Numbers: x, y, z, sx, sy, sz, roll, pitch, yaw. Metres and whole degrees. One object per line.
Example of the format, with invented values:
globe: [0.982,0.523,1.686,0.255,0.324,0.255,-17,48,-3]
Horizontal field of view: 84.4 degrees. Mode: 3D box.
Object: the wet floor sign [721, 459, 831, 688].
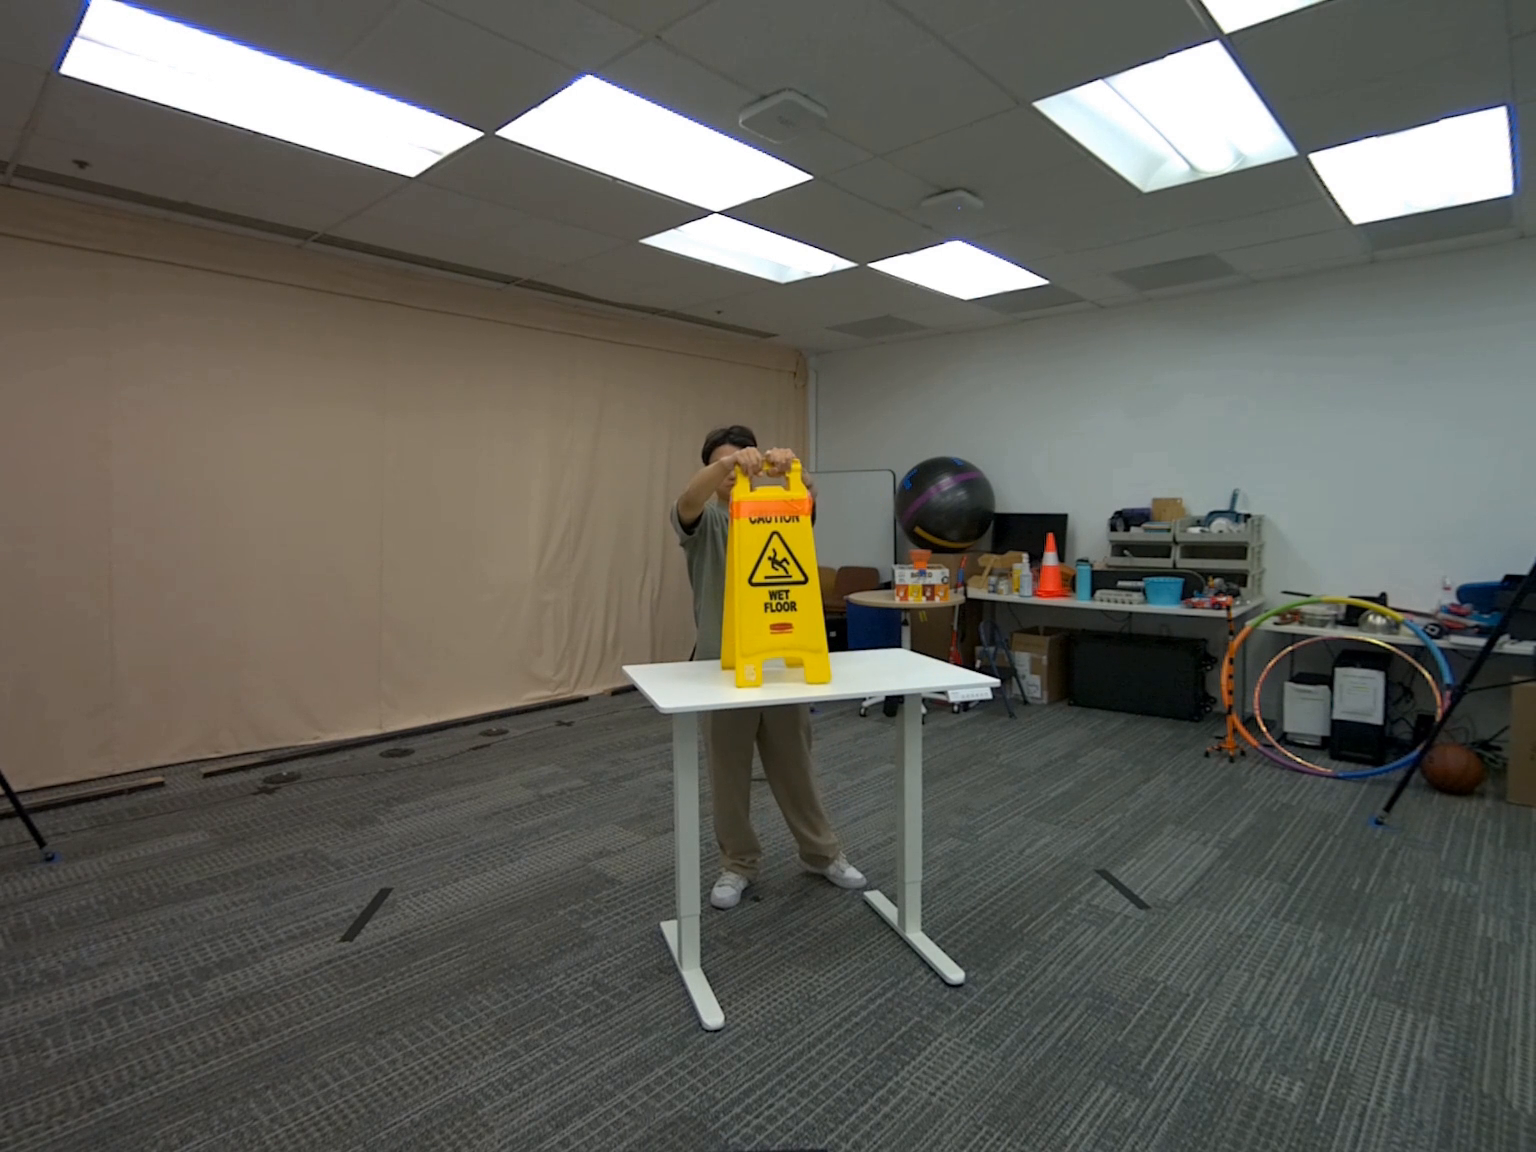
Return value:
wet floor sign: [-0.003,-0.021,2.504,0.279,0.645,0.293,-1,3,-11]
